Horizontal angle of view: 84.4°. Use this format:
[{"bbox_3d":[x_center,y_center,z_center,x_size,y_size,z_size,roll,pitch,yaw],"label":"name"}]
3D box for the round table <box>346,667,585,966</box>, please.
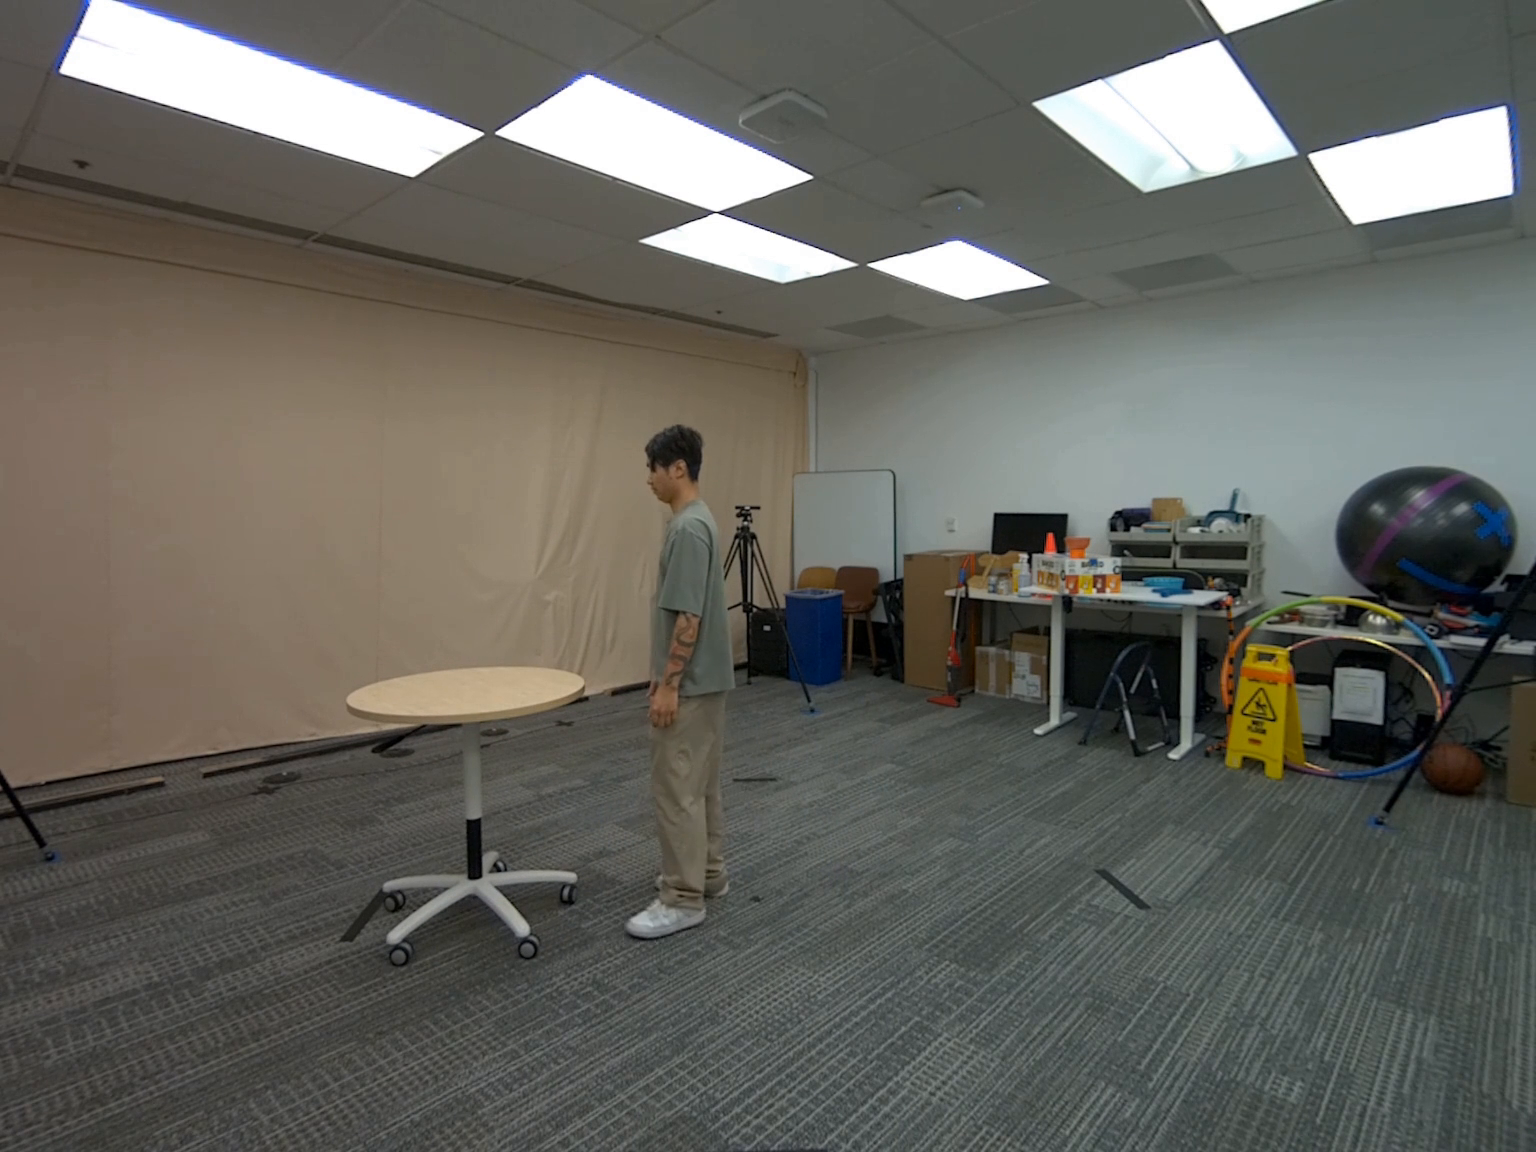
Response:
[{"bbox_3d":[-0.995,0.773,2.857,0.784,0.785,0.788,-1,4,-2],"label":"round table"}]
